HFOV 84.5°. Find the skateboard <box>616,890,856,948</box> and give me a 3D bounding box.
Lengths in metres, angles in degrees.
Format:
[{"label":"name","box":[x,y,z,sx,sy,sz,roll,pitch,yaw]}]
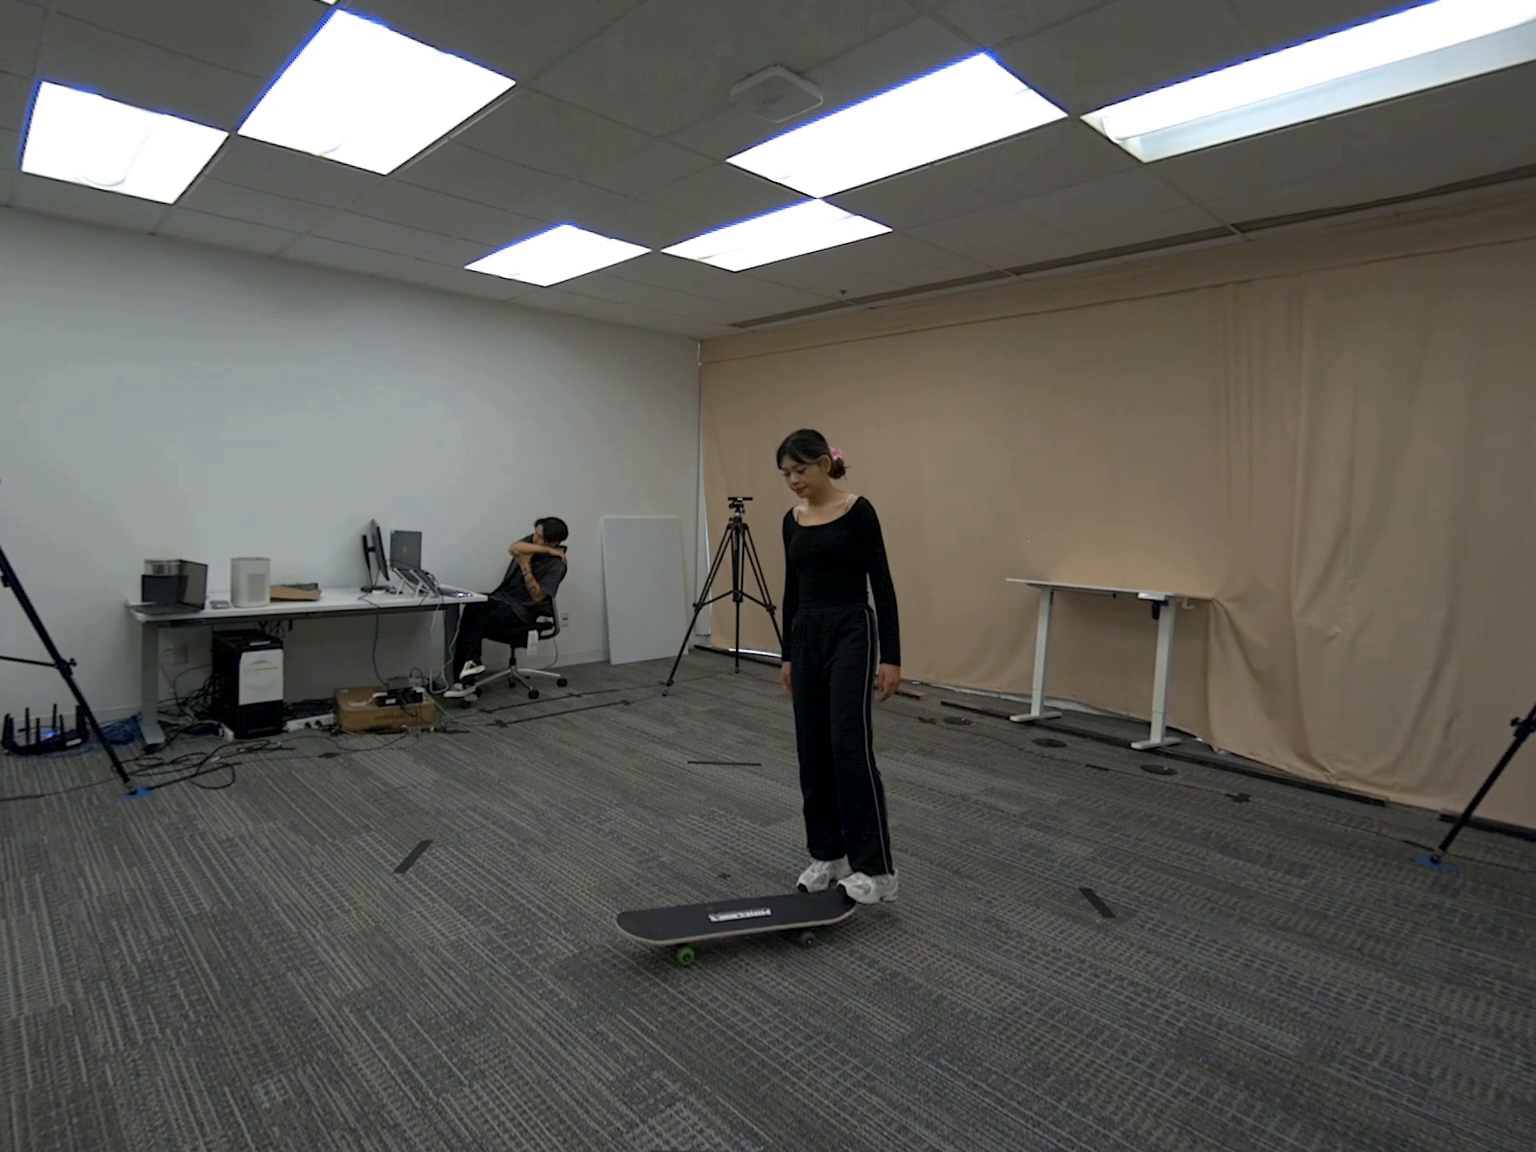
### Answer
[{"label":"skateboard","box":[-0.094,1.090,2.620,0.773,0.110,0.197,2,5,-20]}]
